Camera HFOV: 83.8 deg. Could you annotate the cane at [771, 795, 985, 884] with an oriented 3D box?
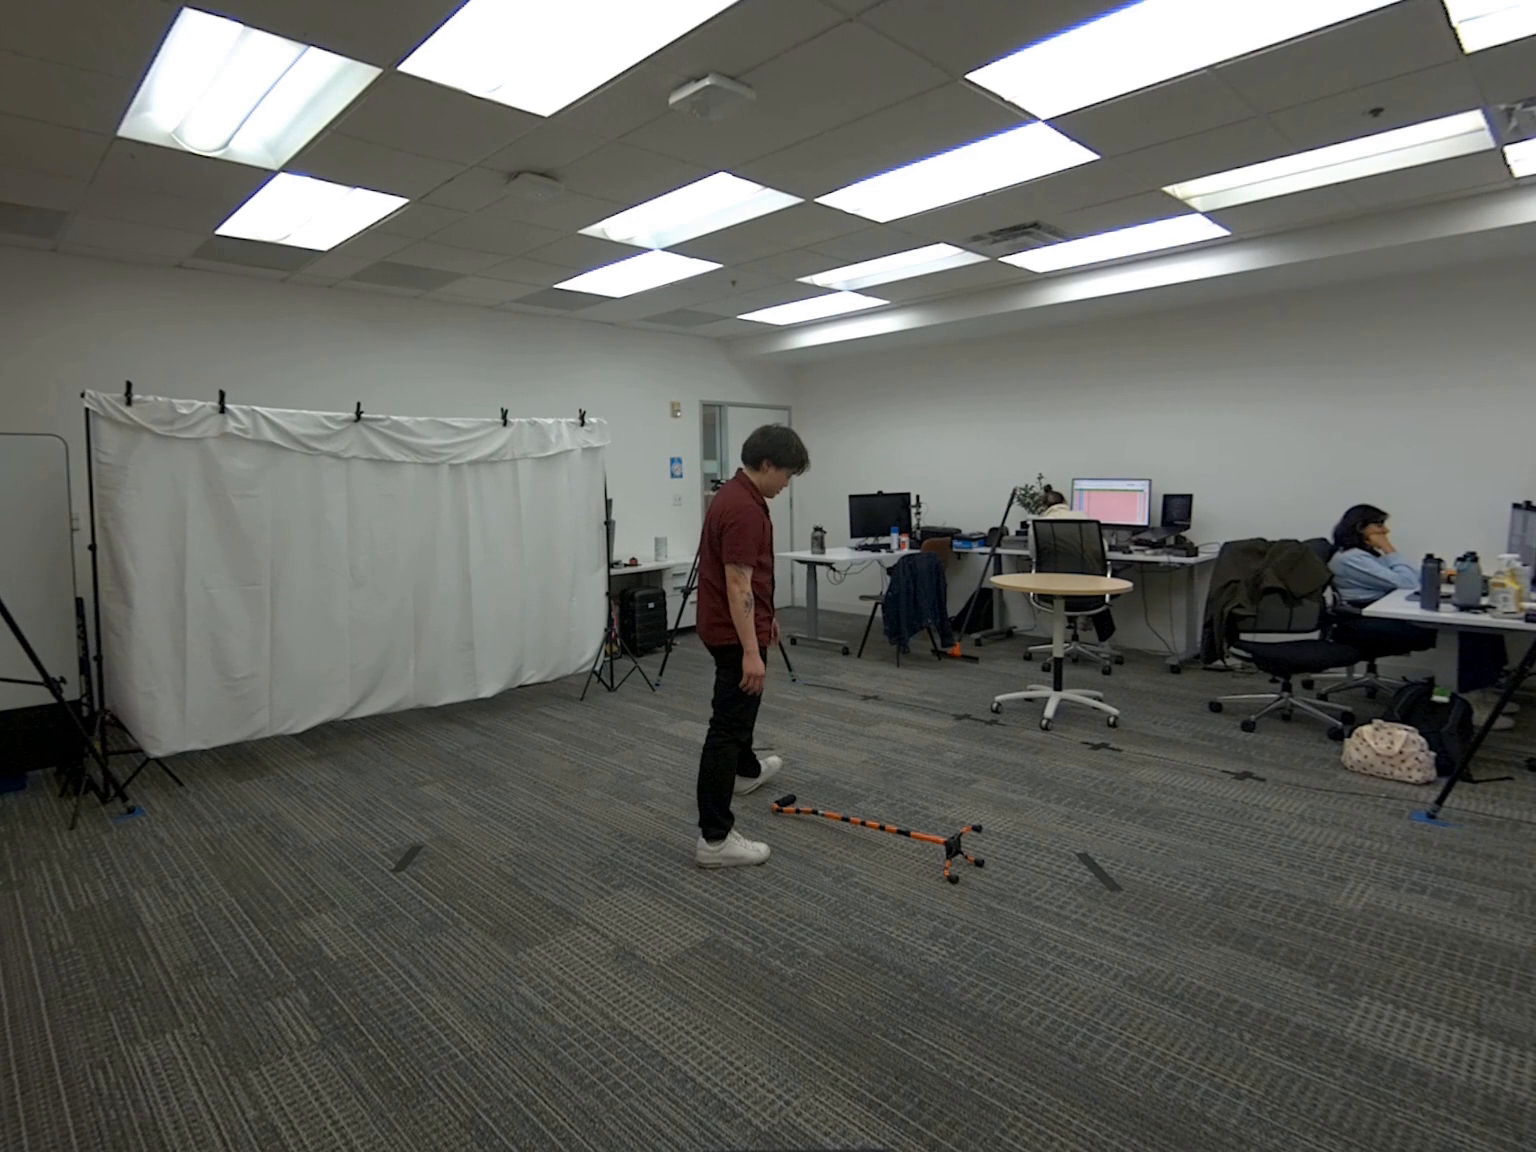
[{"bbox_3d":[0.372,0.973,3.314,0.933,0.151,0.201,-1,3,45],"label":"cane"}]
